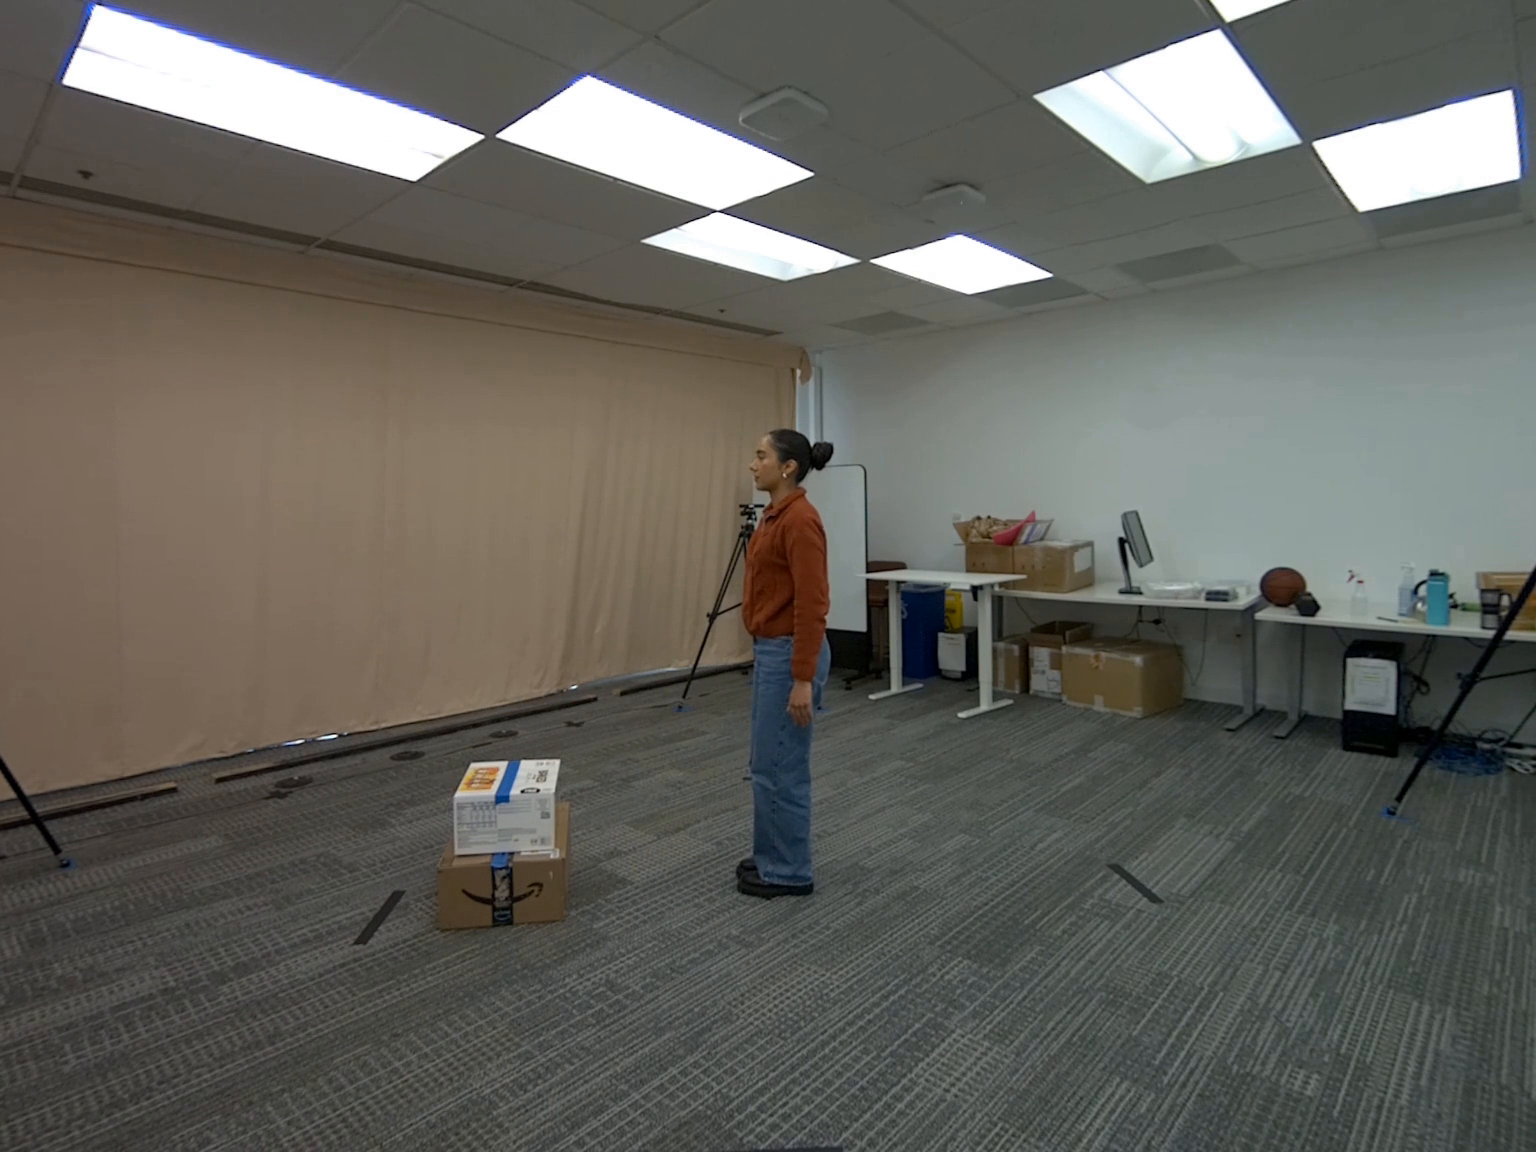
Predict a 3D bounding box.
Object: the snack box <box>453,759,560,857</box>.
[{"bbox_3d":[-0.942,0.838,3.080,0.337,0.205,0.410,-1,4,-10],"label":"snack box"}]
